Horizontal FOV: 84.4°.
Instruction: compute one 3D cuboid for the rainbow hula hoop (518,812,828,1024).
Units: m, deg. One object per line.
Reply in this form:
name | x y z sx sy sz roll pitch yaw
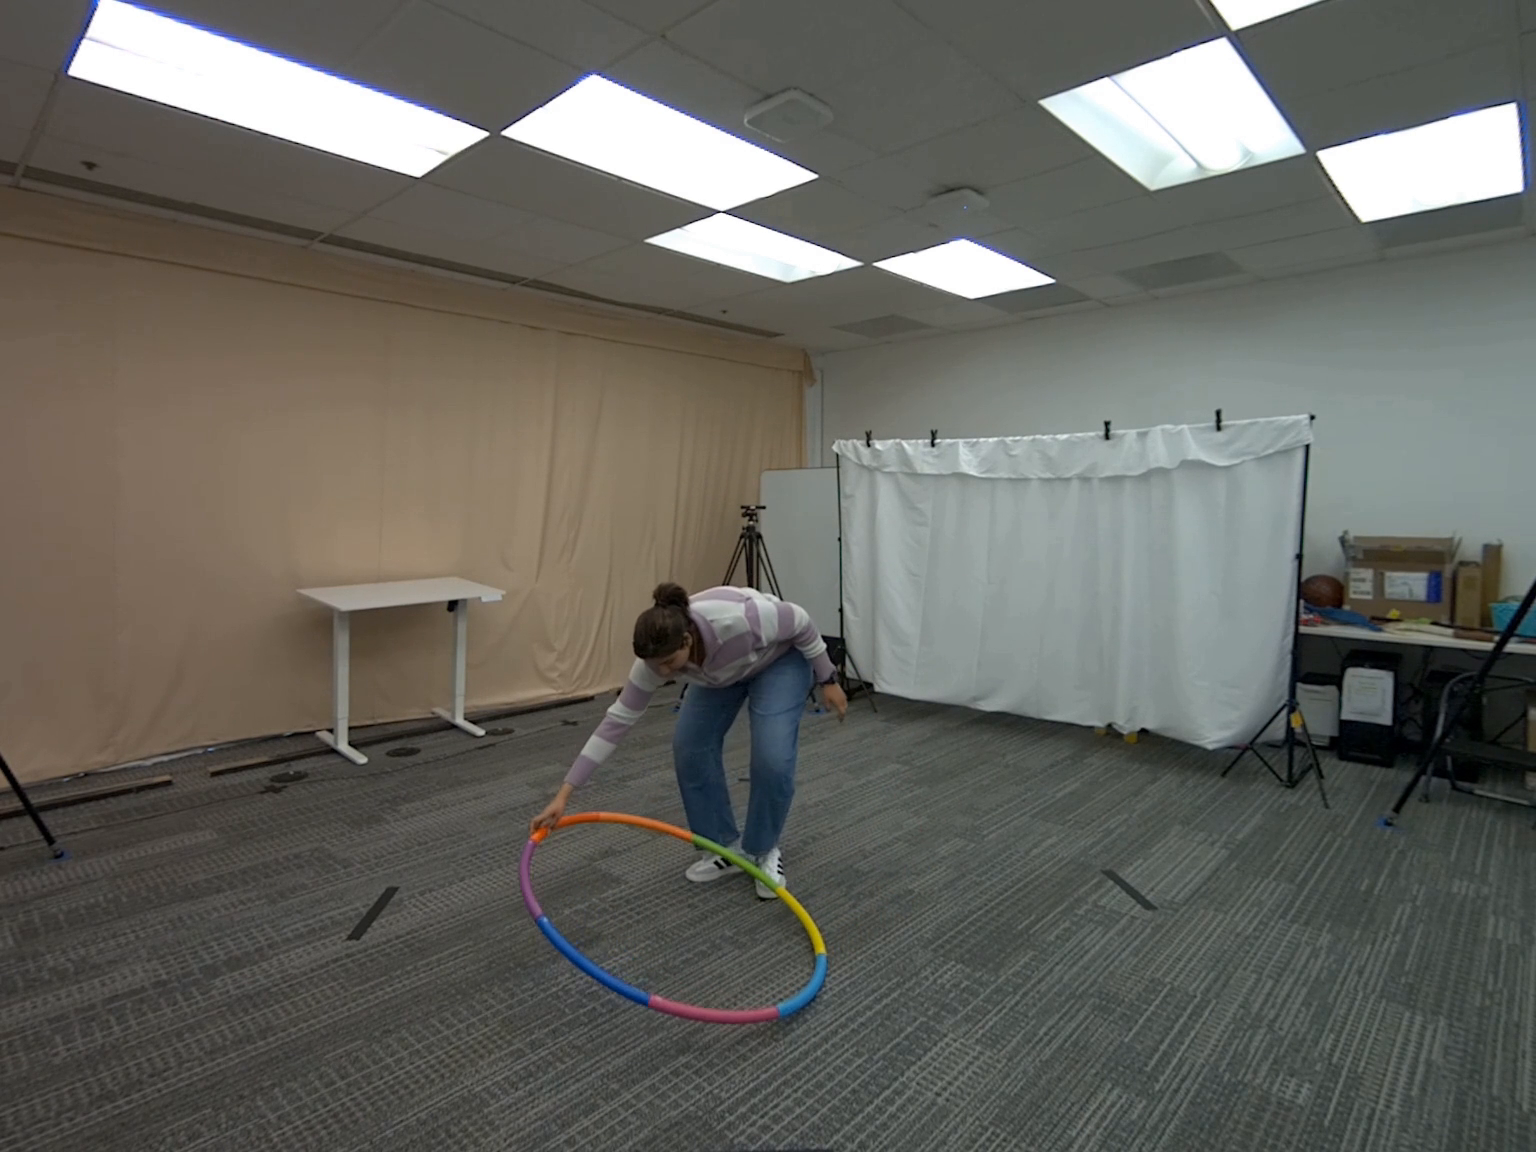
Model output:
rainbow hula hoop | -0.278 1.001 2.588 0.982 0.051 0.991 19 7 -4
